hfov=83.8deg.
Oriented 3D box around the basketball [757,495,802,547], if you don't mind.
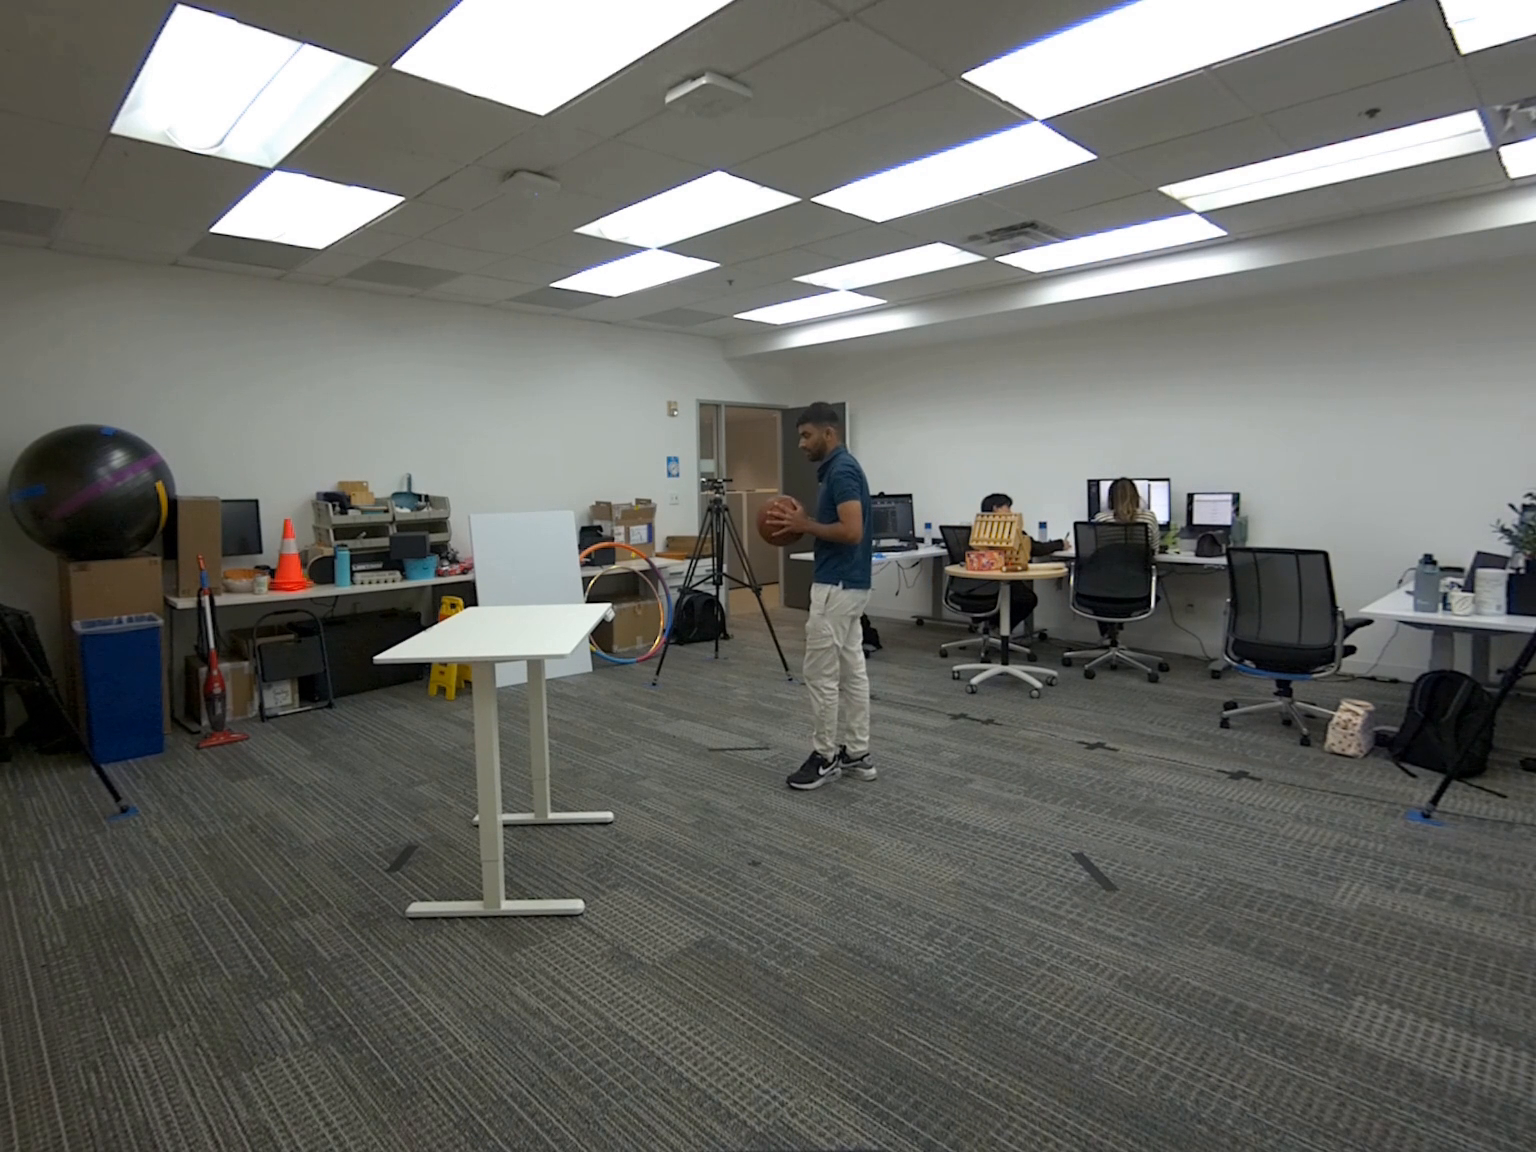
[{"bbox_3d":[0.064,-0.259,3.960,0.236,0.235,0.237,-1,5,-2],"label":"basketball"}]
